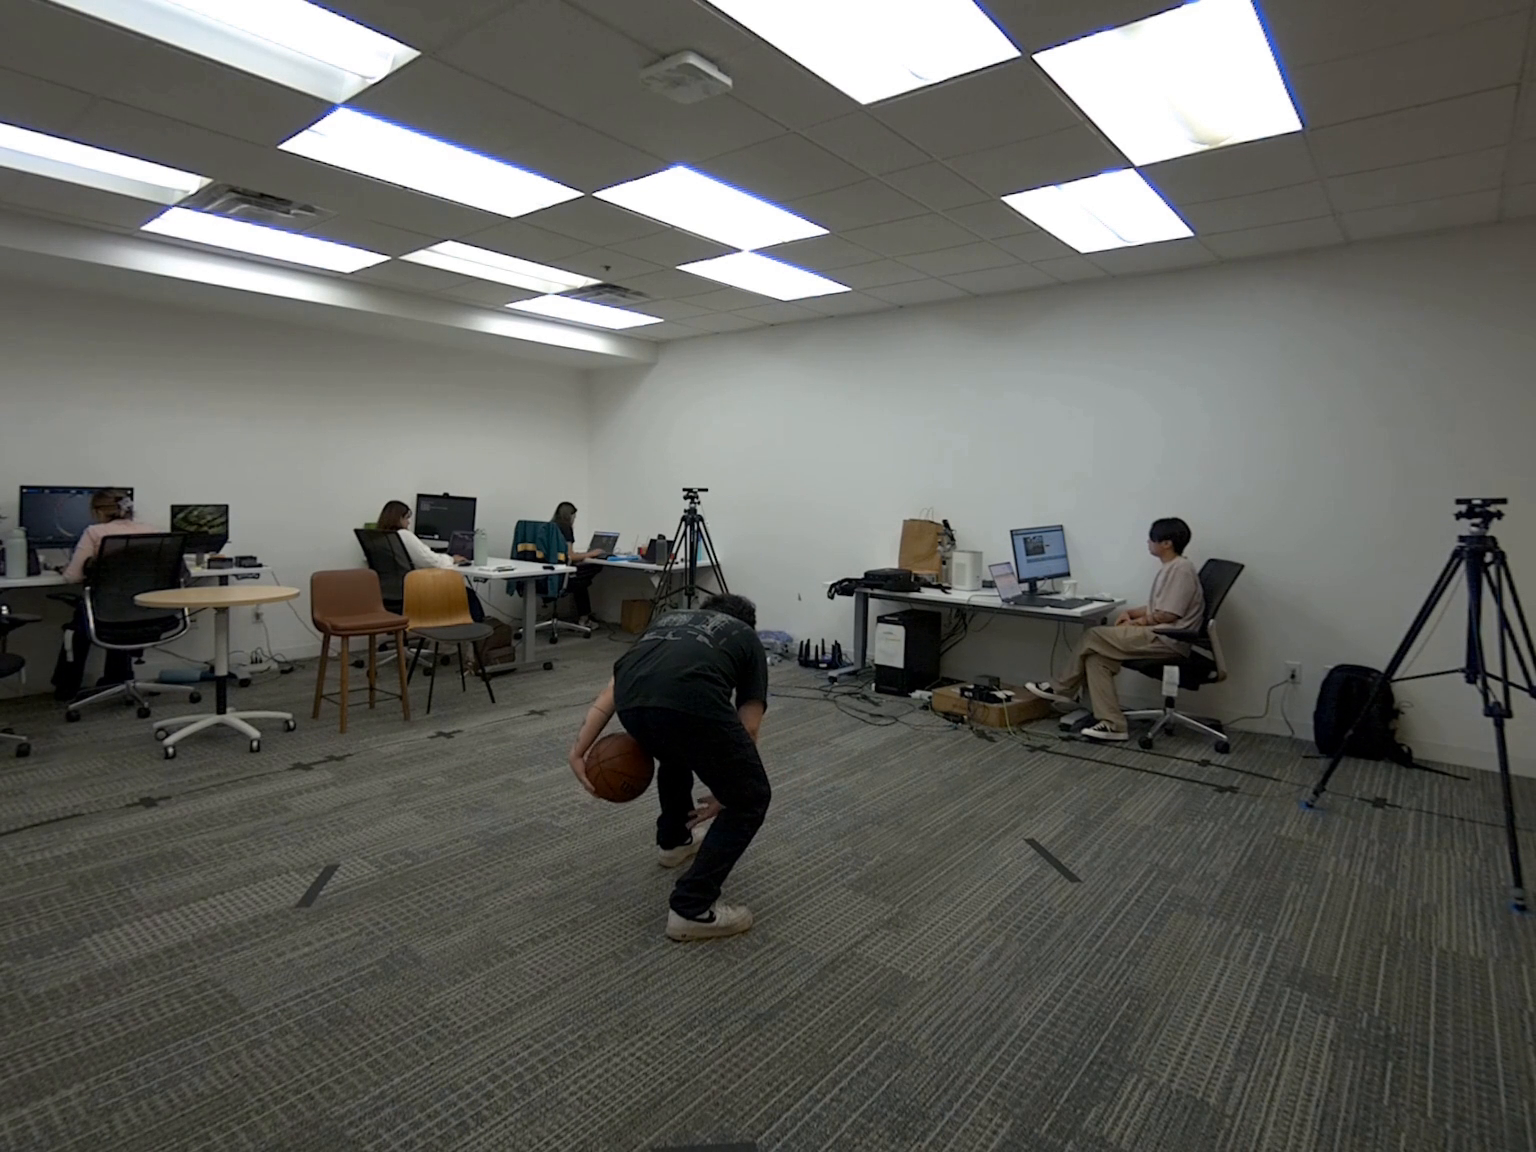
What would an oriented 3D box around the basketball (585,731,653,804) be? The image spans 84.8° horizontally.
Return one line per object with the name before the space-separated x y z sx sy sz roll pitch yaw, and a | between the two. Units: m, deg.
basketball | -0.509 0.673 2.964 0.235 0.235 0.237 1 4 -2
